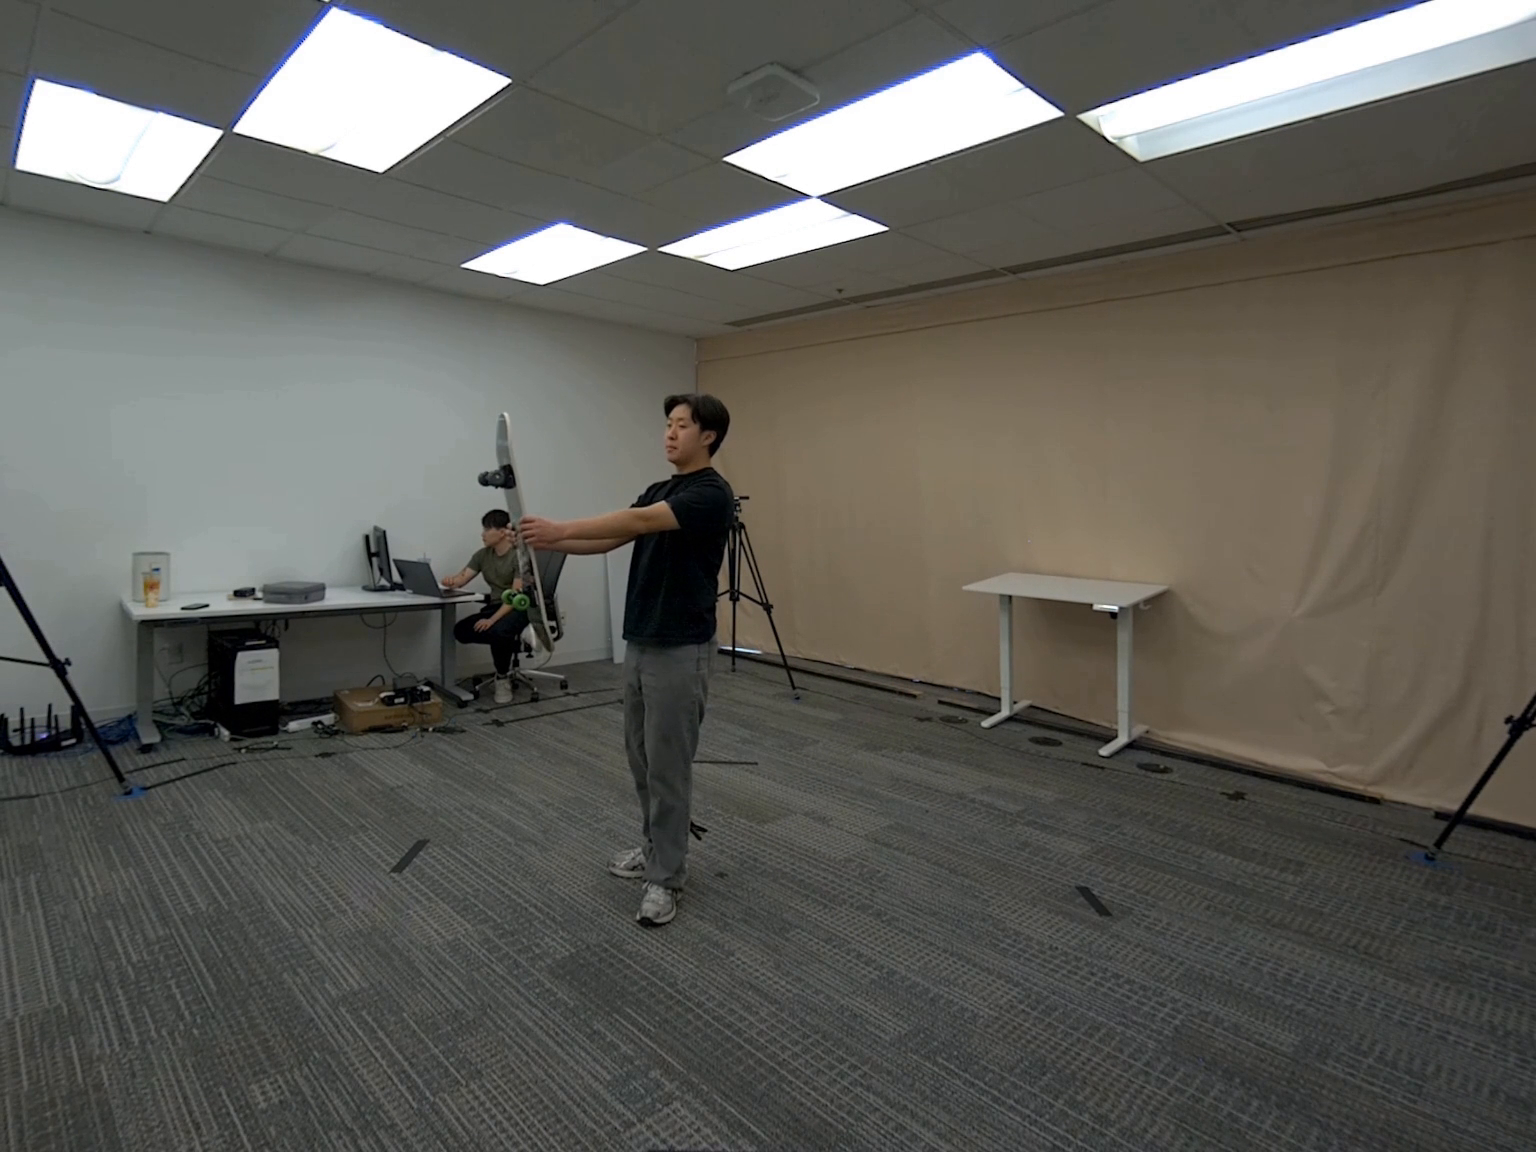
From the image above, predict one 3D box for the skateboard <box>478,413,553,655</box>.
[{"bbox_3d":[-0.821,-0.119,2.705,0.109,0.781,0.197,-13,7,-28],"label":"skateboard"}]
